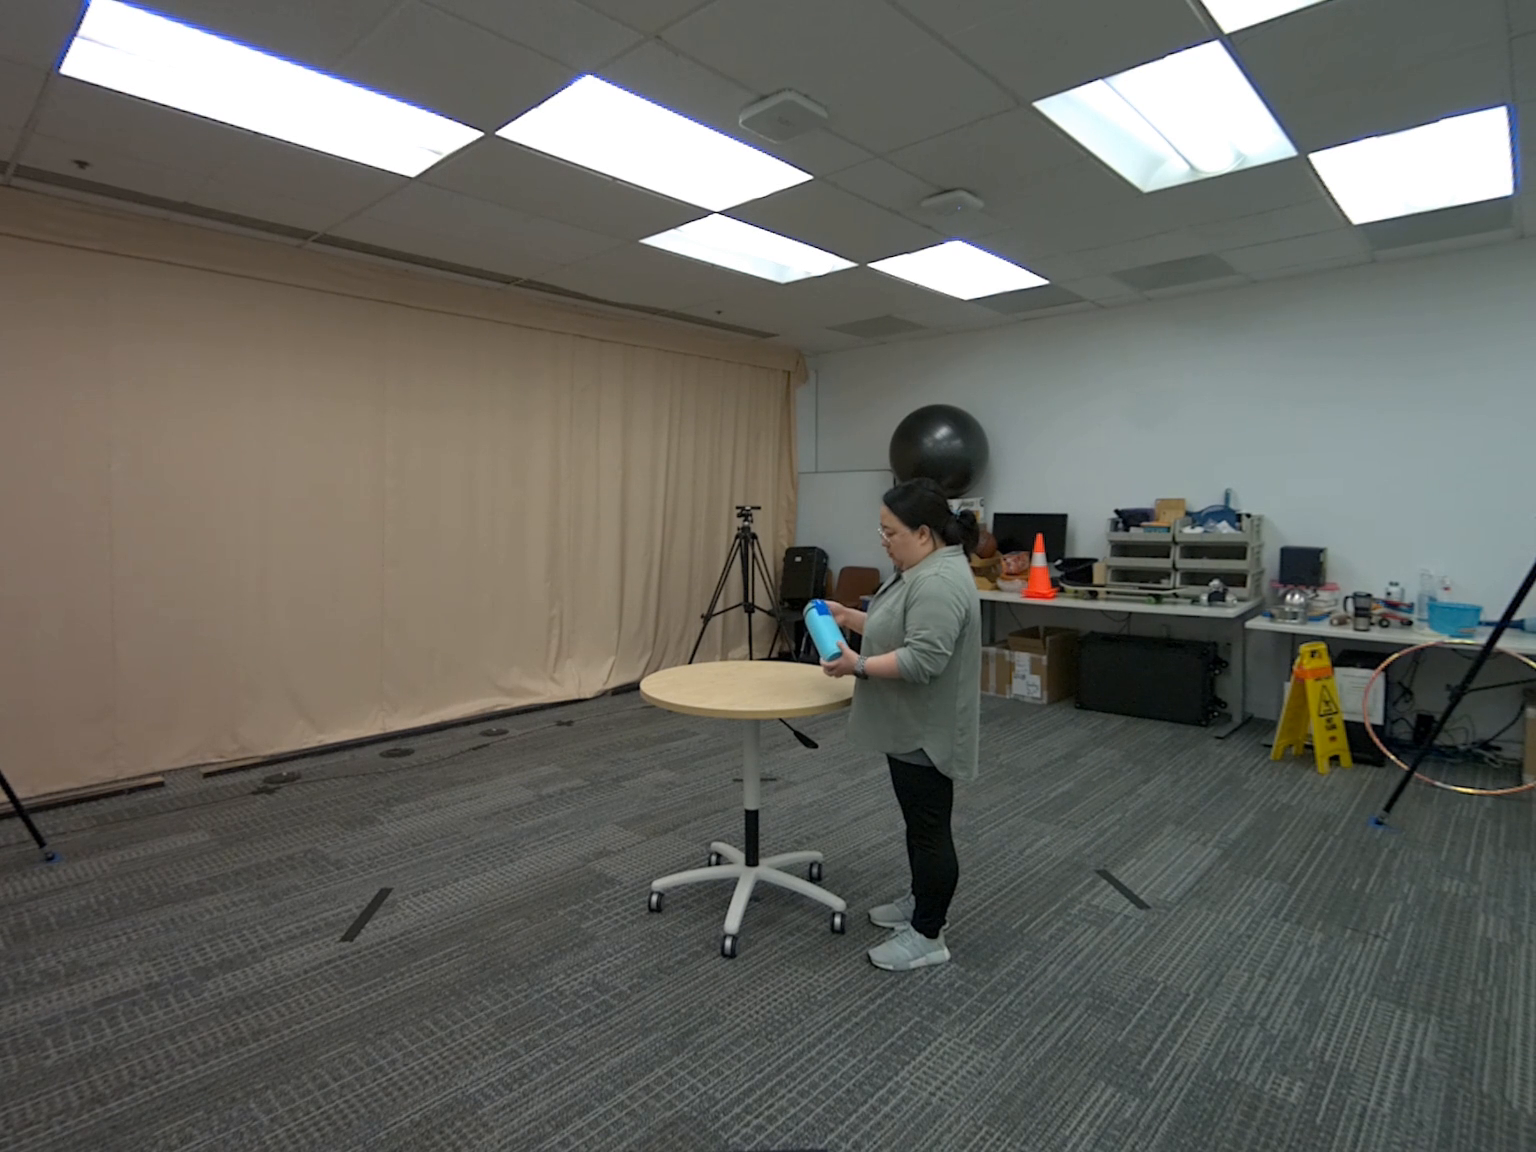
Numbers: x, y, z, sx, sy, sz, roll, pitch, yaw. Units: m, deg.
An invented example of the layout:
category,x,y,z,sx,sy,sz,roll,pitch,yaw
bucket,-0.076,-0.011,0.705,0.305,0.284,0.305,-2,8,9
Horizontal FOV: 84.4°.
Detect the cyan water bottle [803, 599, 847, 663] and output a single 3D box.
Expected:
category,x,y,z,sx,sy,sz,roll,pitch,yaw
cyan water bottle,0.194,0.180,2.633,0.091,0.091,0.291,-2,36,-15
